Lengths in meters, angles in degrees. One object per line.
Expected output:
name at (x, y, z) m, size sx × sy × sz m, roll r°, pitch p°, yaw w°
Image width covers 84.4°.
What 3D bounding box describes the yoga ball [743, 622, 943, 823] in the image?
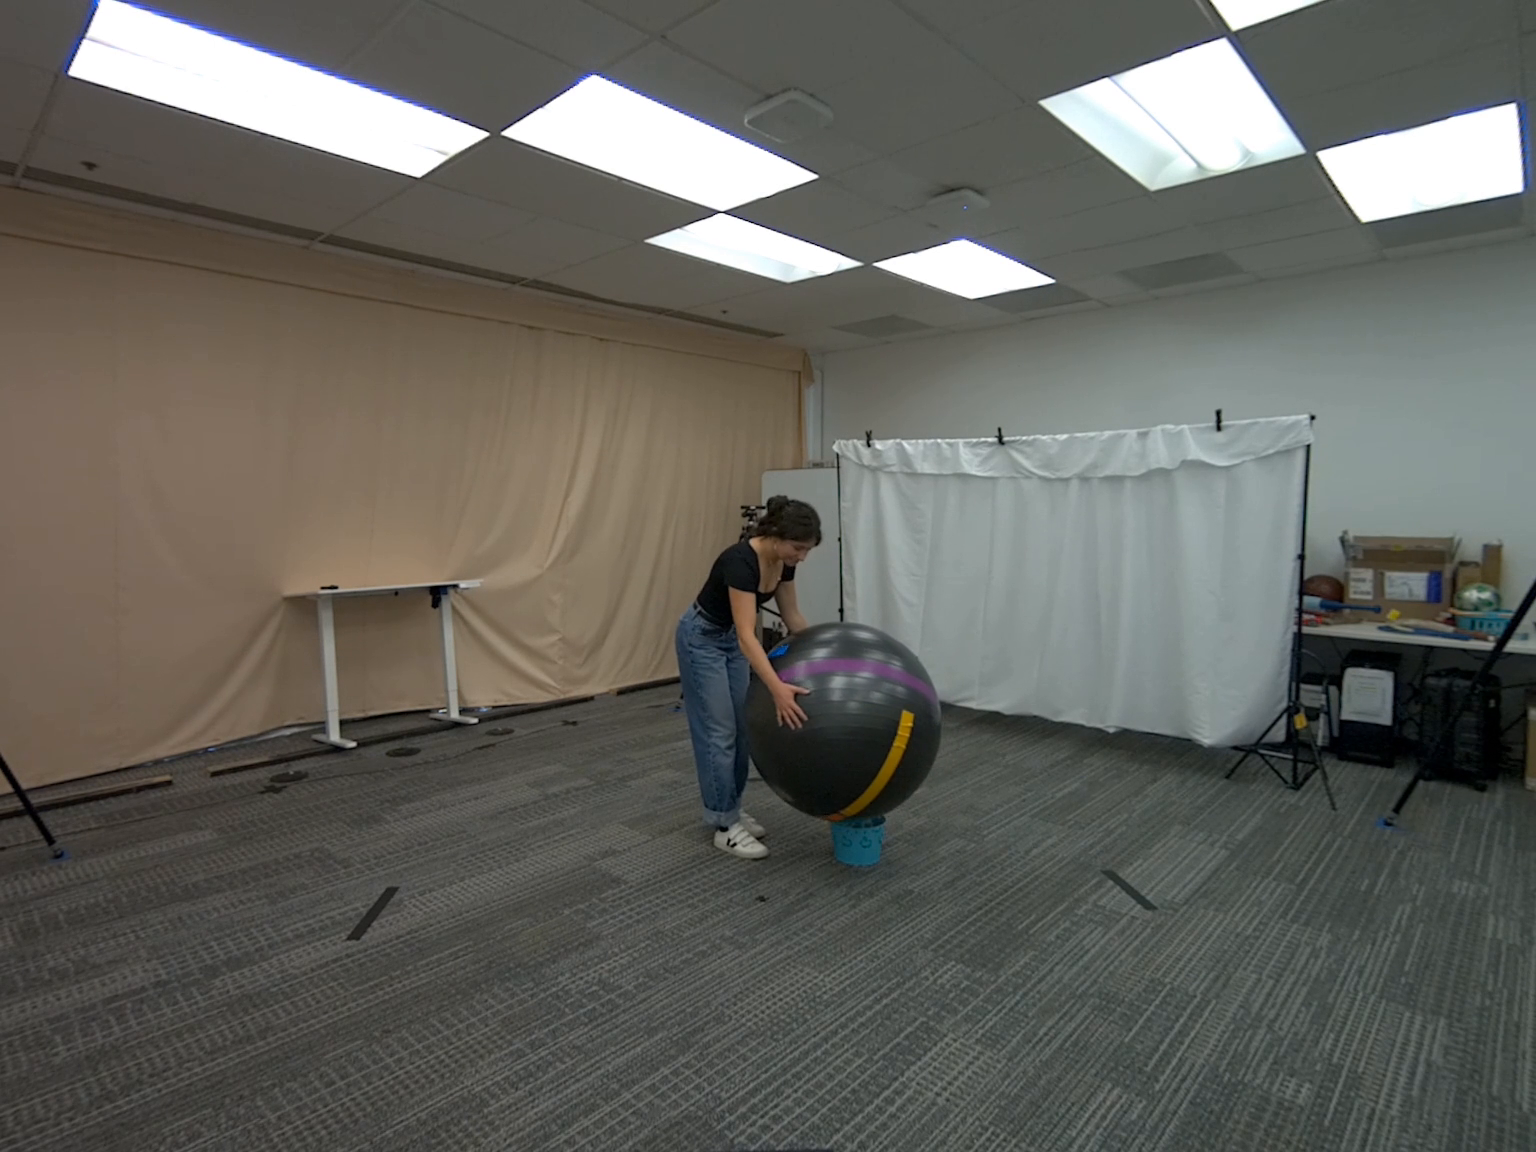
yoga ball at (0.282, 0.567, 3.269) m, size 0.757 × 0.756 × 0.760 m, roll 0°, pitch 4°, yaw -2°
